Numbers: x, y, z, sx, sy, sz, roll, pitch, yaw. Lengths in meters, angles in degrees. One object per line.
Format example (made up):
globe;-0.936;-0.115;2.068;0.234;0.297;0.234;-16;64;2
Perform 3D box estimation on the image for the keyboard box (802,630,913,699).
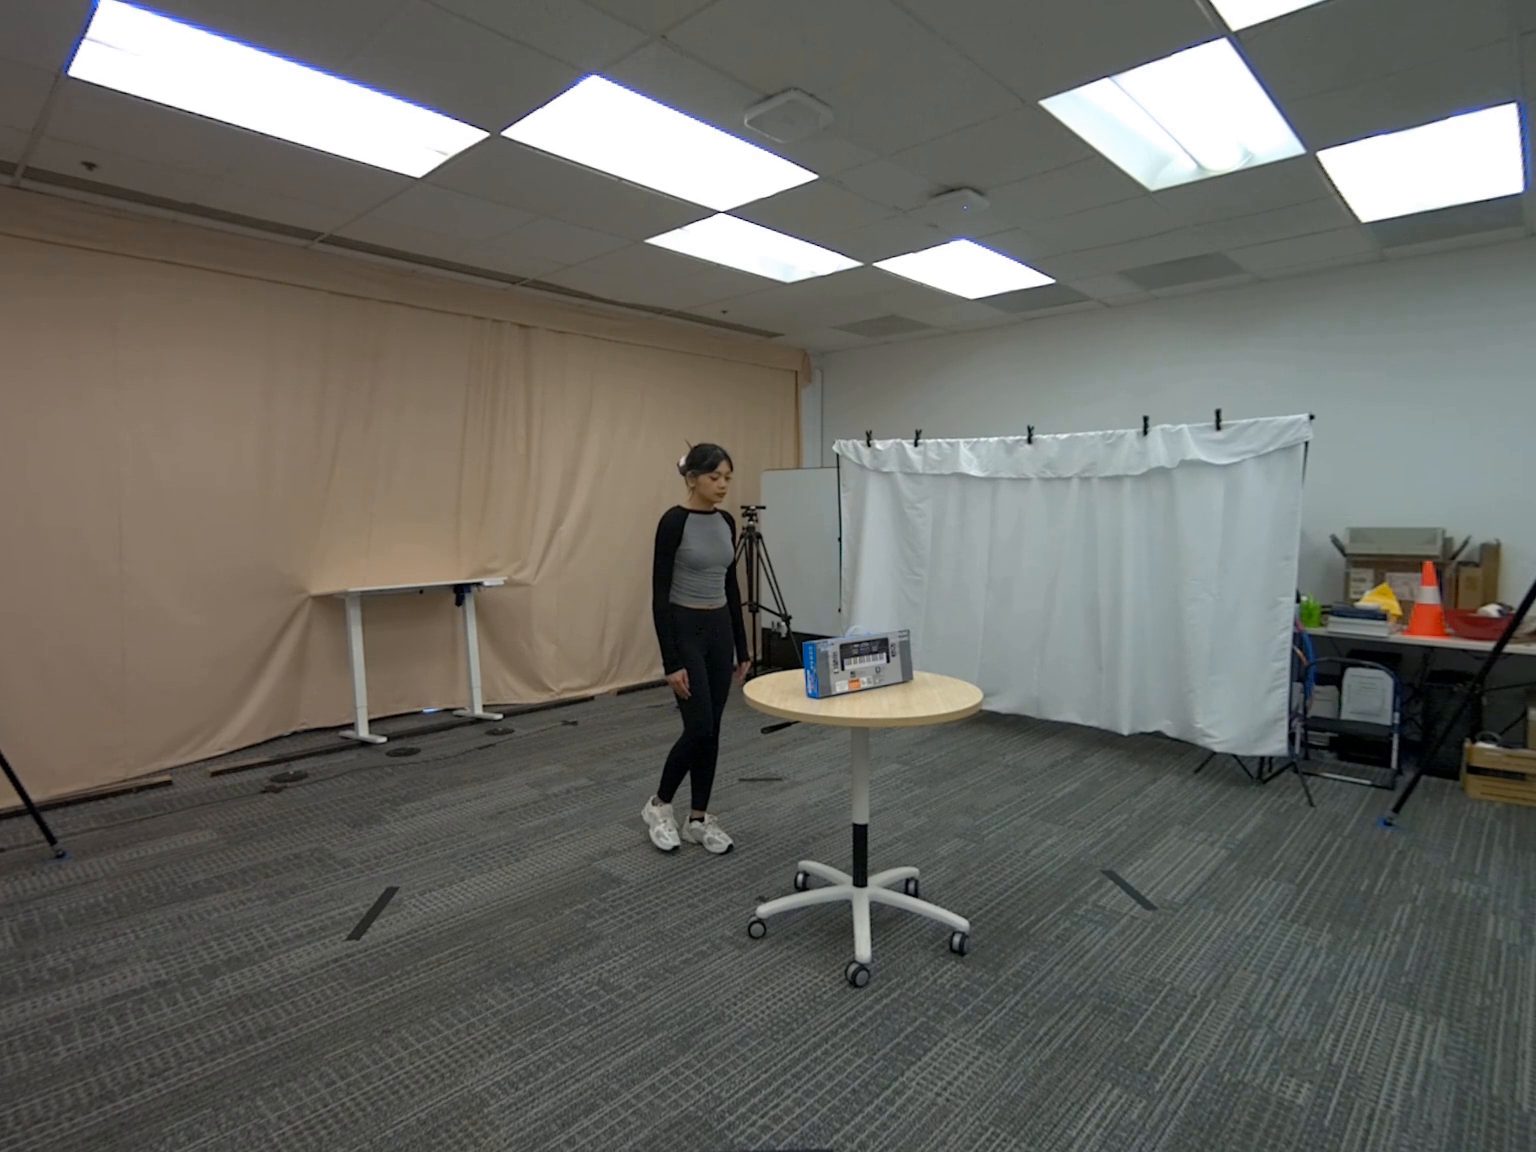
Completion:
keyboard box;0.304;0.284;2.745;0.424;0.176;0.061;-4;-2;-36
